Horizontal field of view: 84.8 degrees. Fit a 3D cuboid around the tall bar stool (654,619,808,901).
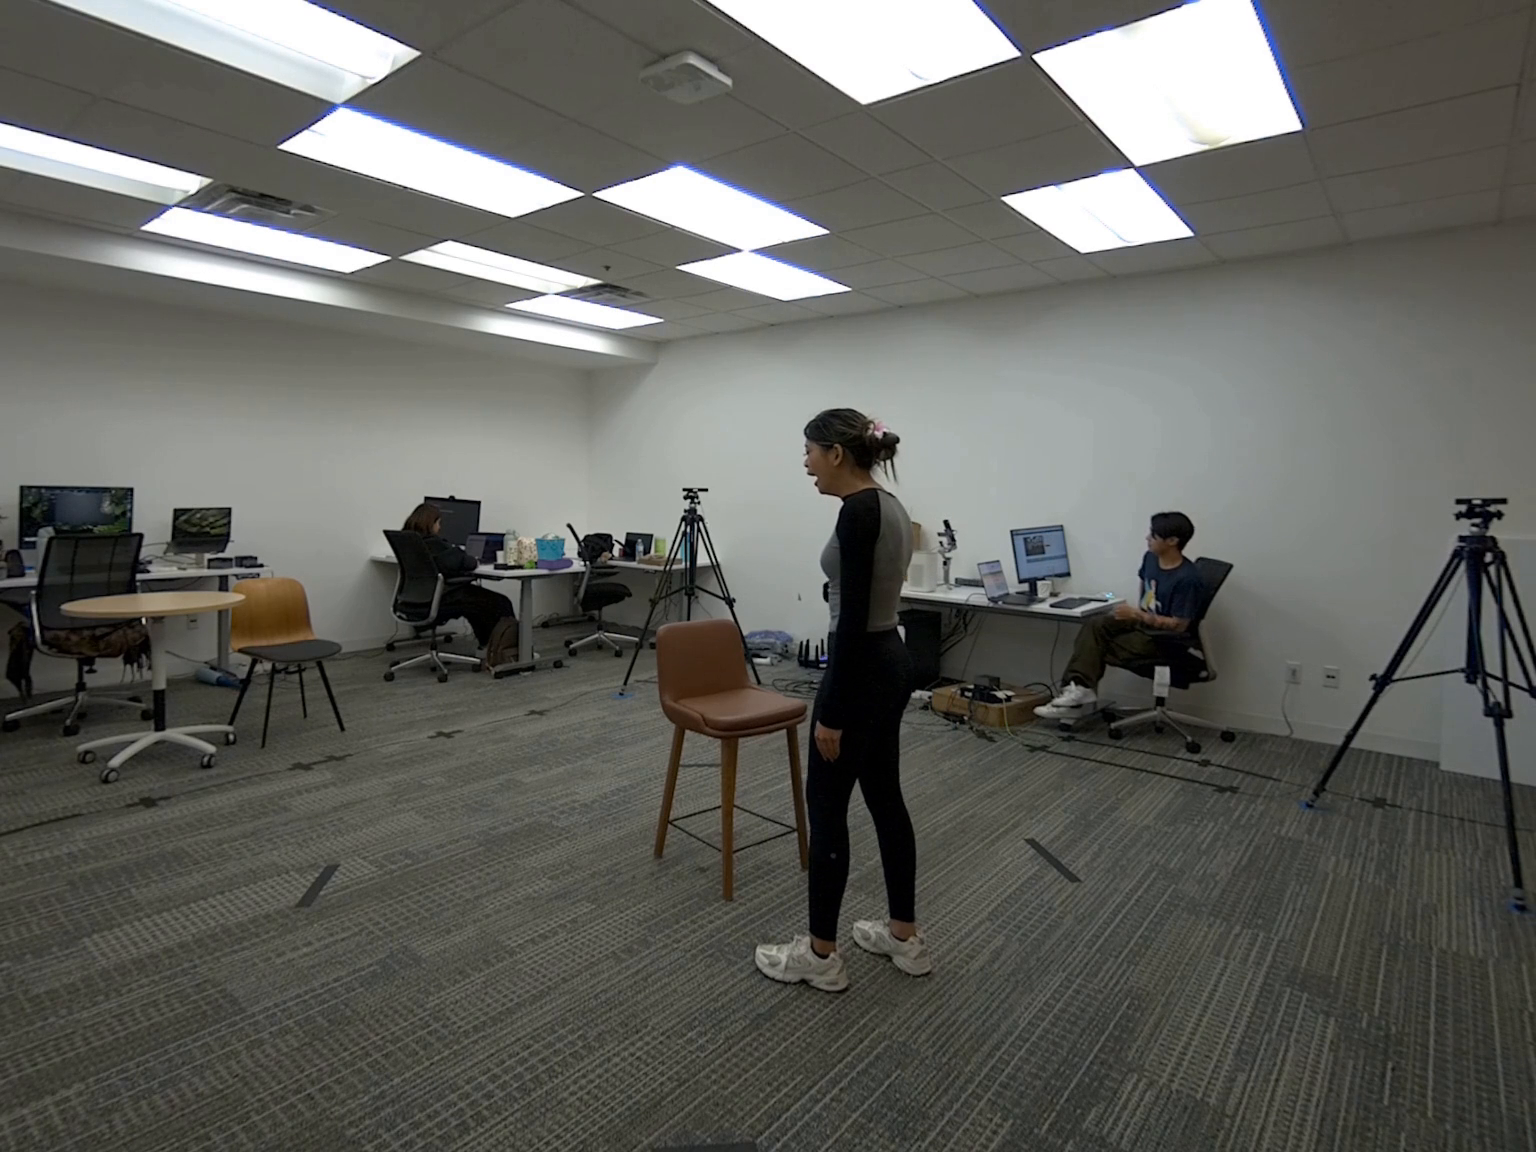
[{"bbox_3d":[-0.148,0.631,3.148,0.442,0.888,0.483,-2,2,-42],"label":"tall bar stool"}]
